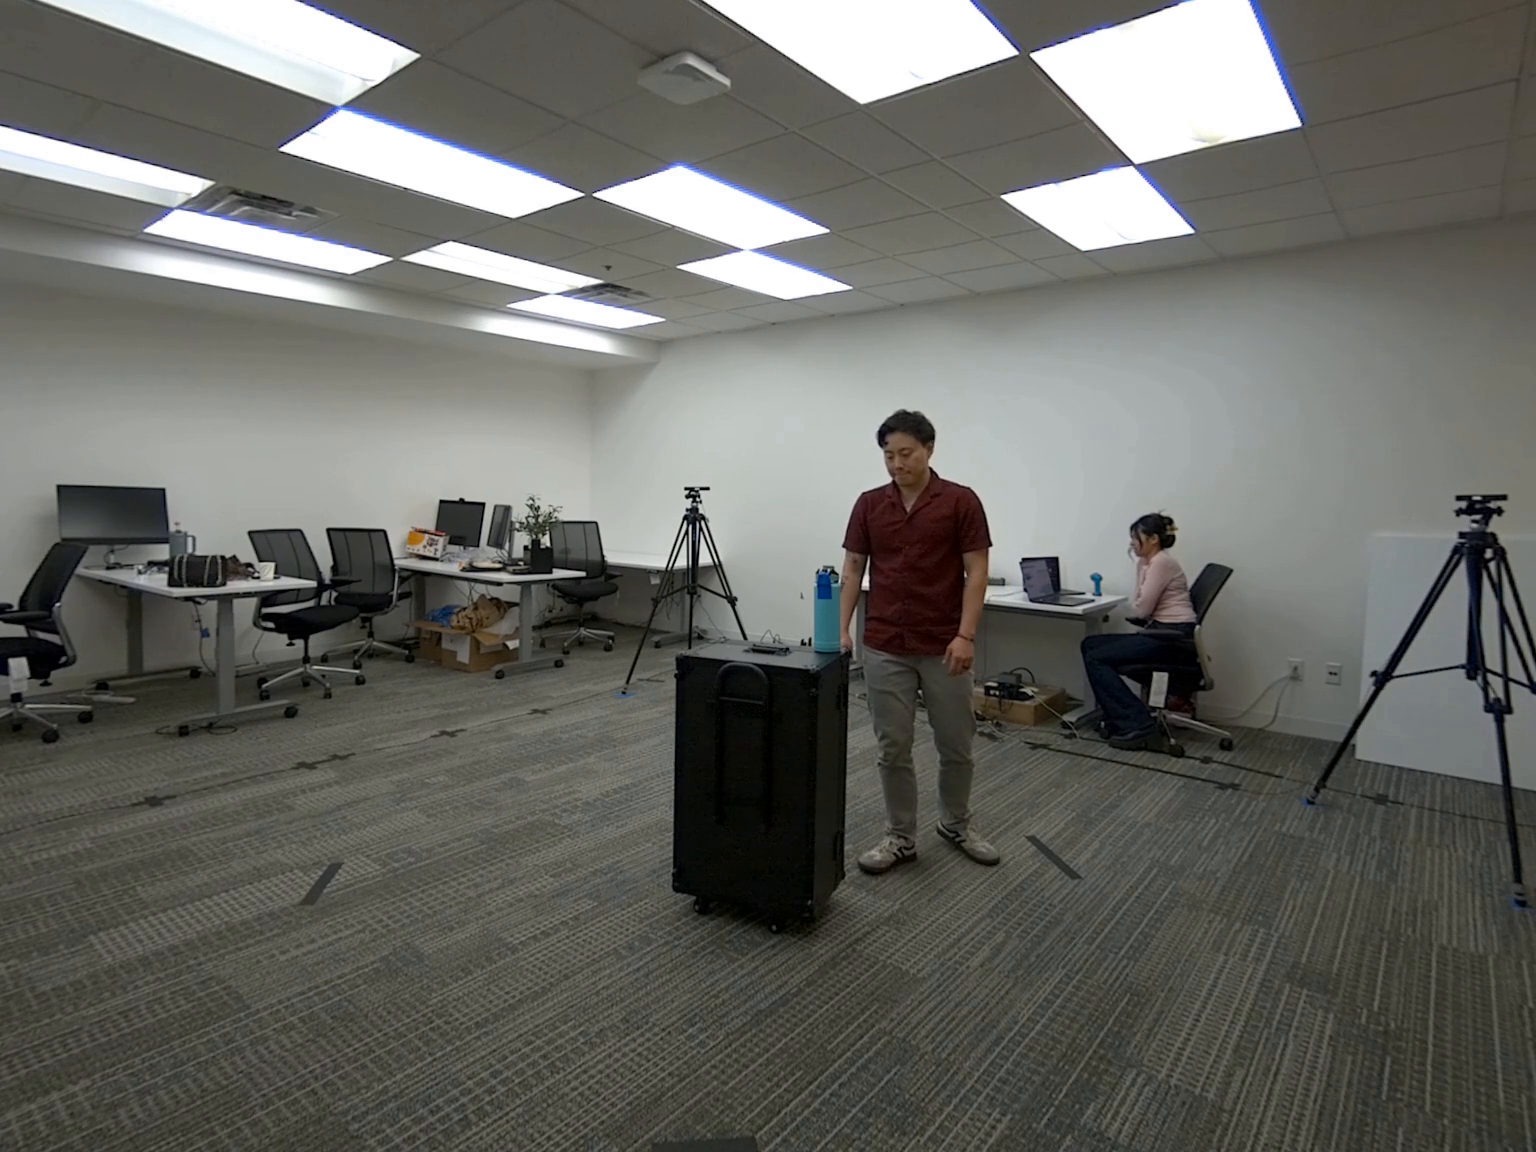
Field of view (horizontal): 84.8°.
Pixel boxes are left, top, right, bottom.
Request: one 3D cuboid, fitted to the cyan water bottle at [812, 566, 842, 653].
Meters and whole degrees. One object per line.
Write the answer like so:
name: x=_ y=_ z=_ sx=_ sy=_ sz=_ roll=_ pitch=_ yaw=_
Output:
cyan water bottle: x=0.188 y=0.103 z=2.842 sx=0.092 sy=0.283 sz=0.092 roll=1 pitch=2 yaw=-2
